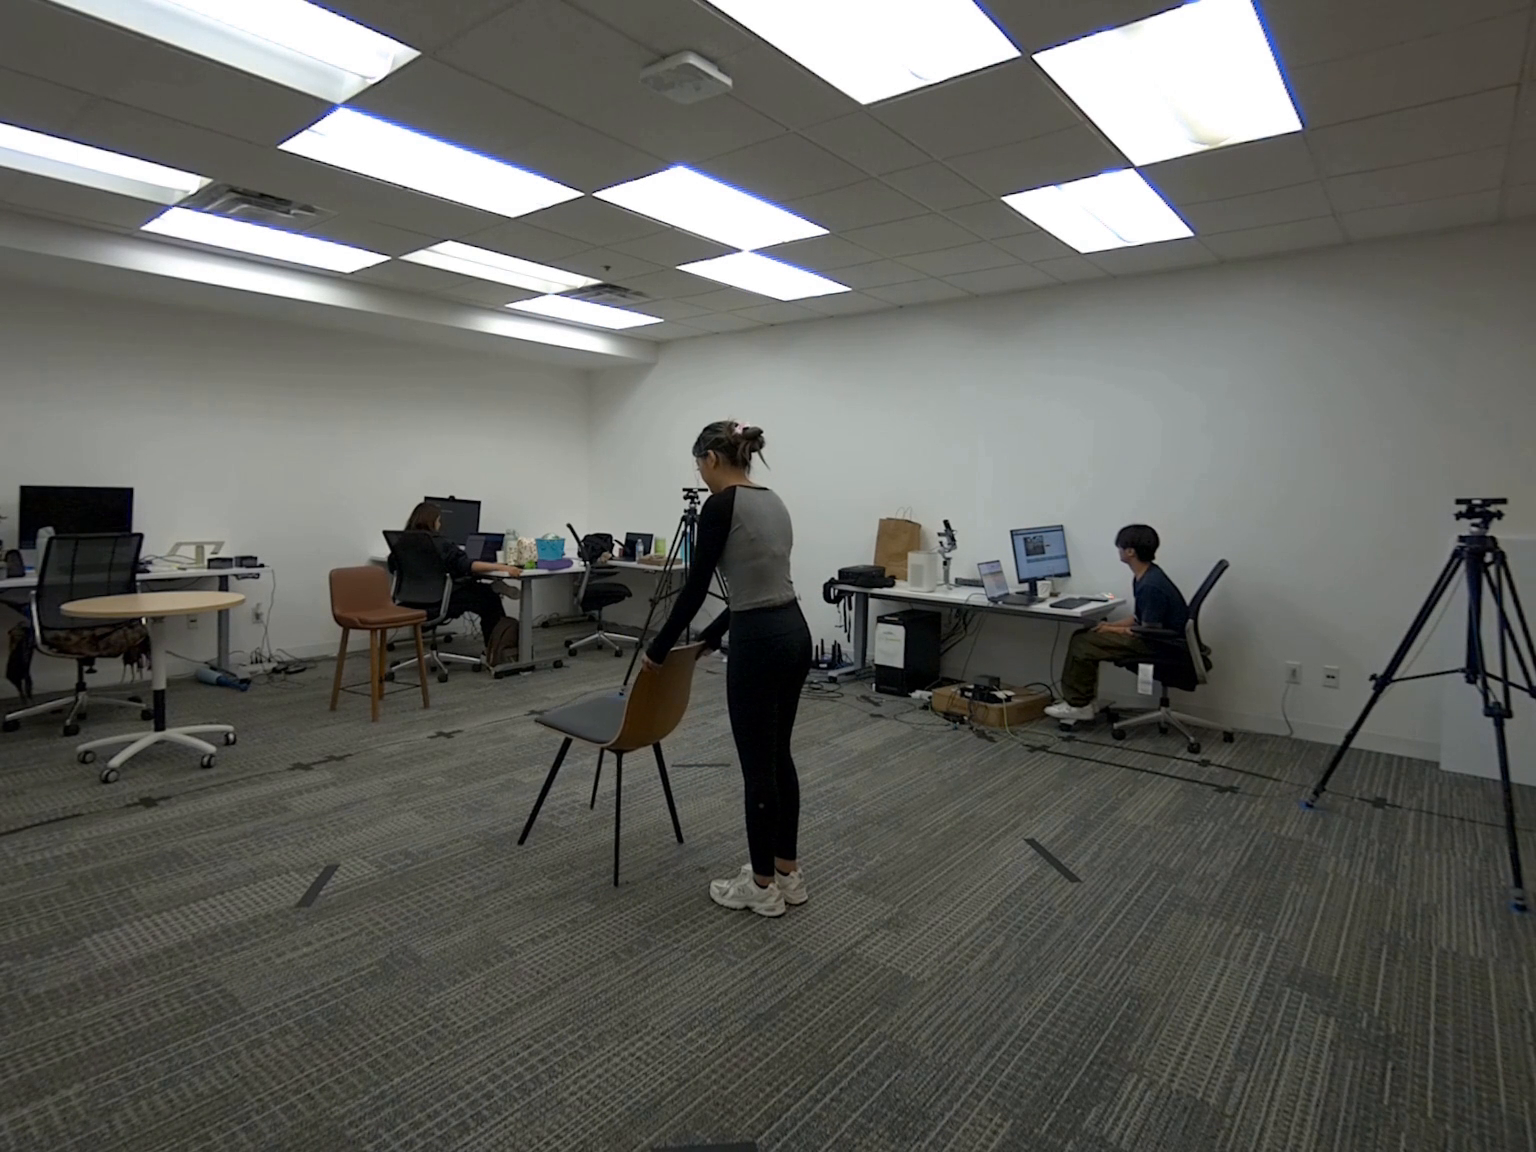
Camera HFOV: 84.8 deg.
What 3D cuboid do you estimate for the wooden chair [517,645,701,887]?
[{"bbox_3d":[-0.598,0.603,3.205,0.540,0.872,0.466,16,10,26],"label":"wooden chair"}]
